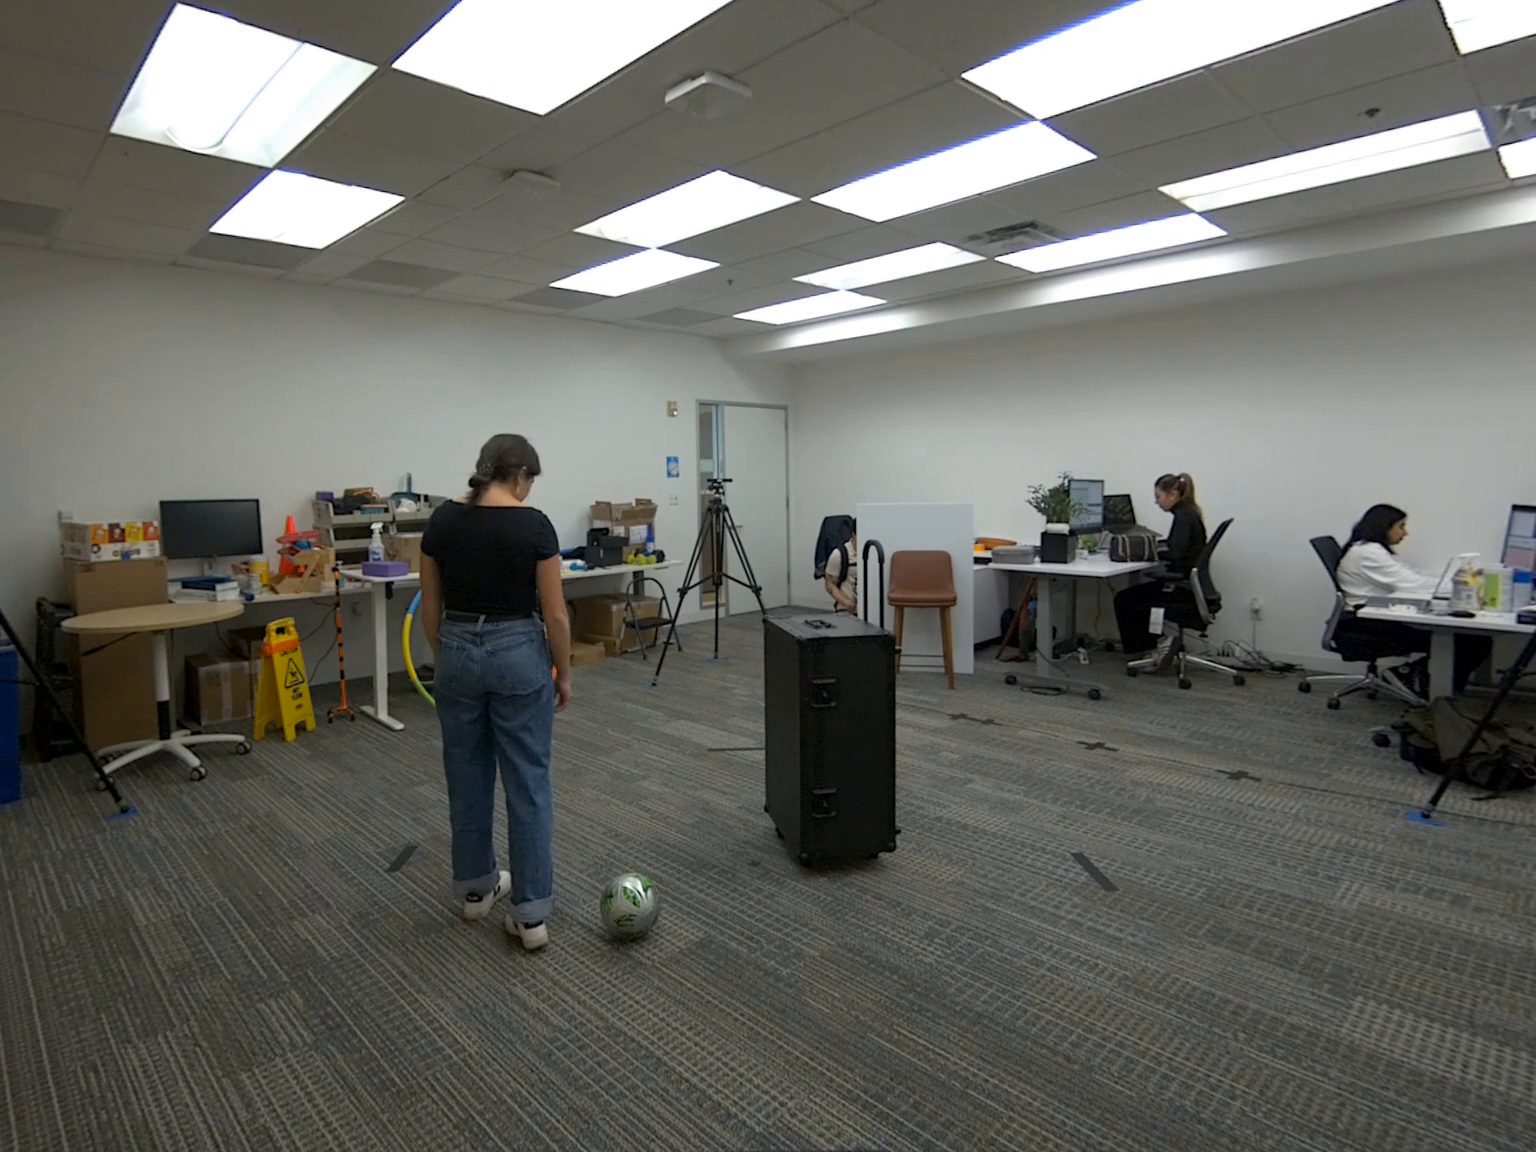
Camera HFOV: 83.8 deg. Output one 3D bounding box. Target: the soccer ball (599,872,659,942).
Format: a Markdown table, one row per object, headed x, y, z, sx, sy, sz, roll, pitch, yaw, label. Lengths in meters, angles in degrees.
| x | y | z | sx | sy | sz | roll | pitch | yaw | label |
| --- | --- | --- | --- | --- | --- | --- | --- | --- | --- |
| -0.419 | 1.012 | 2.627 | 0.187 | 0.187 | 0.188 | -1 | 5 | -2 | soccer ball |
